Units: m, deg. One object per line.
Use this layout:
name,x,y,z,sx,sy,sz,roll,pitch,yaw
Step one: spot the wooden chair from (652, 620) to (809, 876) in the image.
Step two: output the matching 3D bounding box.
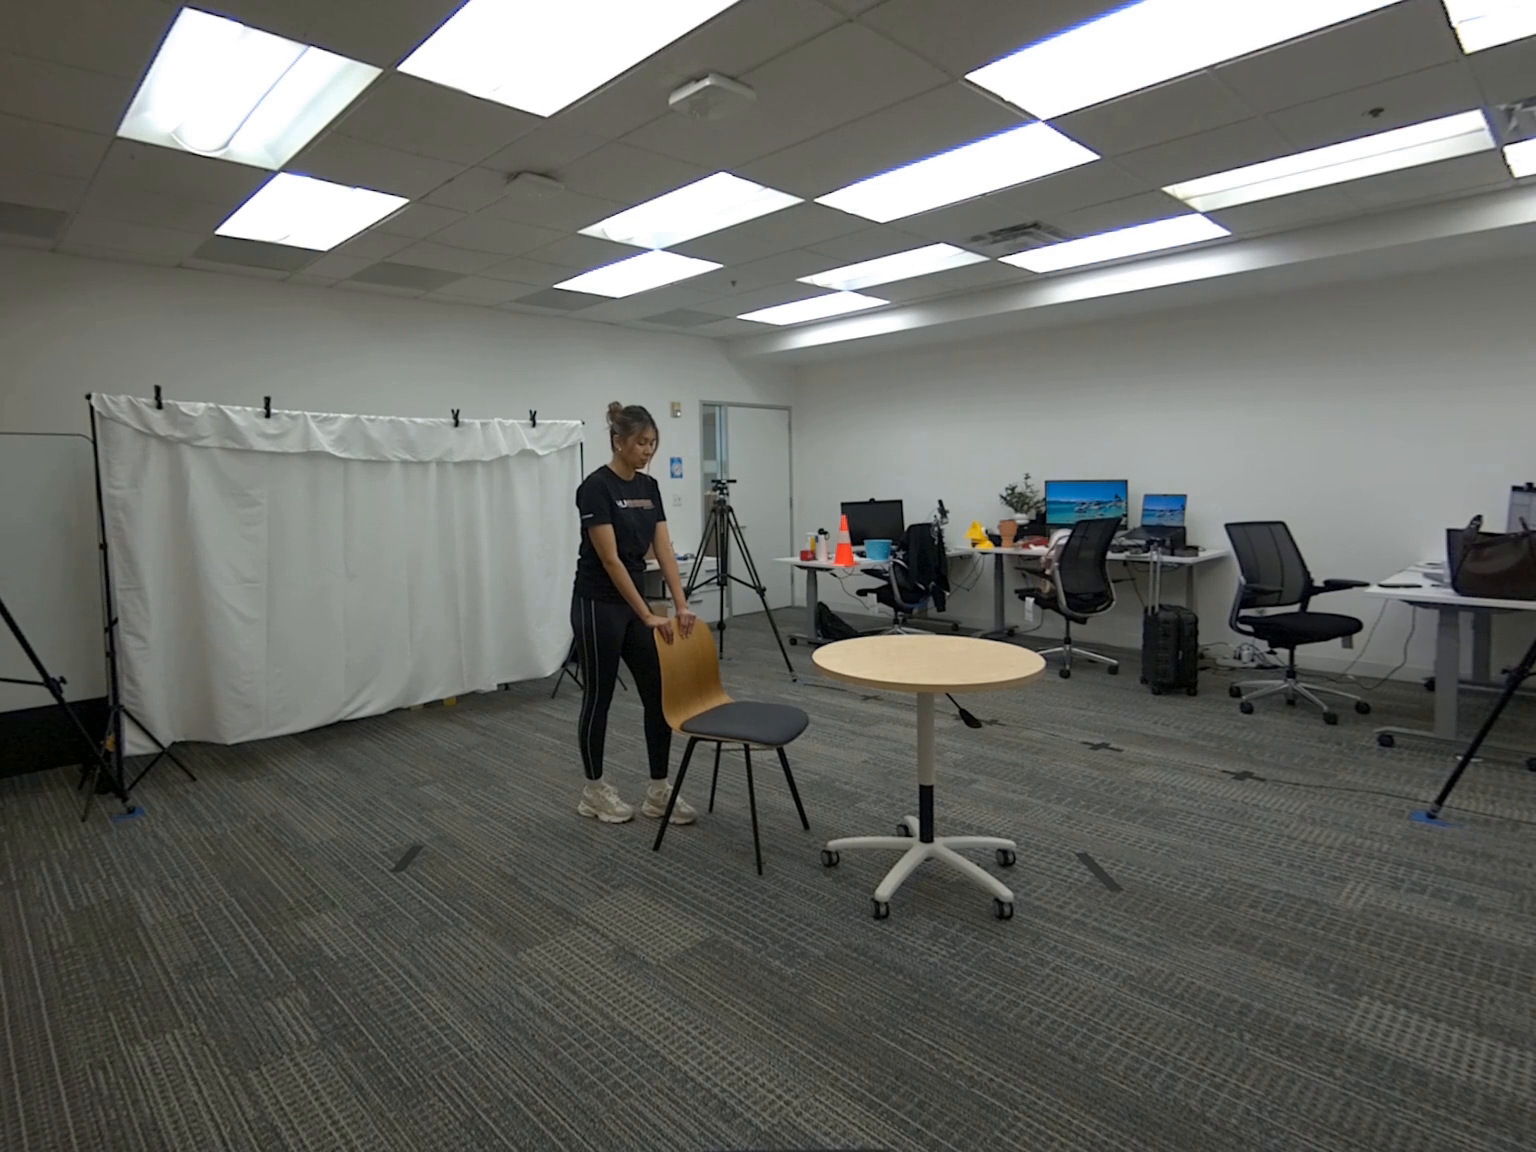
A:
wooden chair,-0.134,0.599,3.287,0.535,0.876,0.468,-3,2,27
